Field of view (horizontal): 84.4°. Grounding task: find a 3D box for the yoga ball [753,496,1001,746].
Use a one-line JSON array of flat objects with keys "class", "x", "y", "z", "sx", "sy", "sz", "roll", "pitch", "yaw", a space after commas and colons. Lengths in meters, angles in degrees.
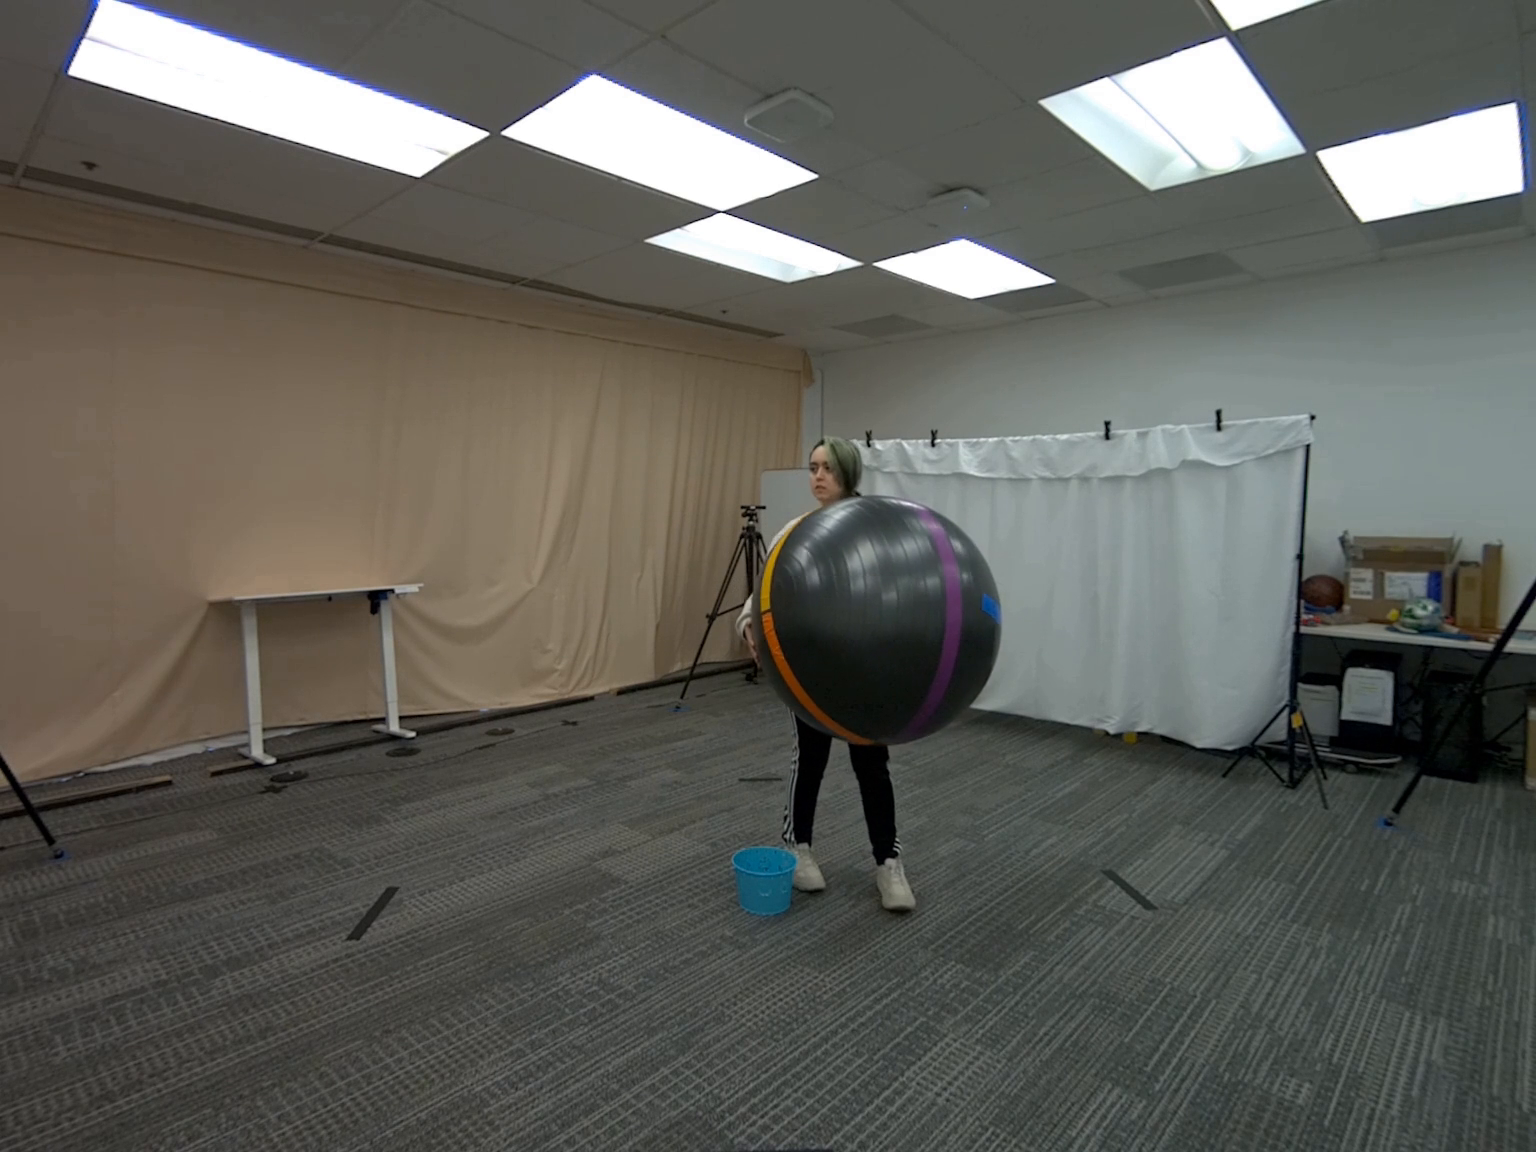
[{"class": "yoga ball", "x": 0.334, "y": 0.140, "z": 2.588, "sx": 0.757, "sy": 0.756, "sz": 0.760, "roll": 0, "pitch": 4, "yaw": -2}]
